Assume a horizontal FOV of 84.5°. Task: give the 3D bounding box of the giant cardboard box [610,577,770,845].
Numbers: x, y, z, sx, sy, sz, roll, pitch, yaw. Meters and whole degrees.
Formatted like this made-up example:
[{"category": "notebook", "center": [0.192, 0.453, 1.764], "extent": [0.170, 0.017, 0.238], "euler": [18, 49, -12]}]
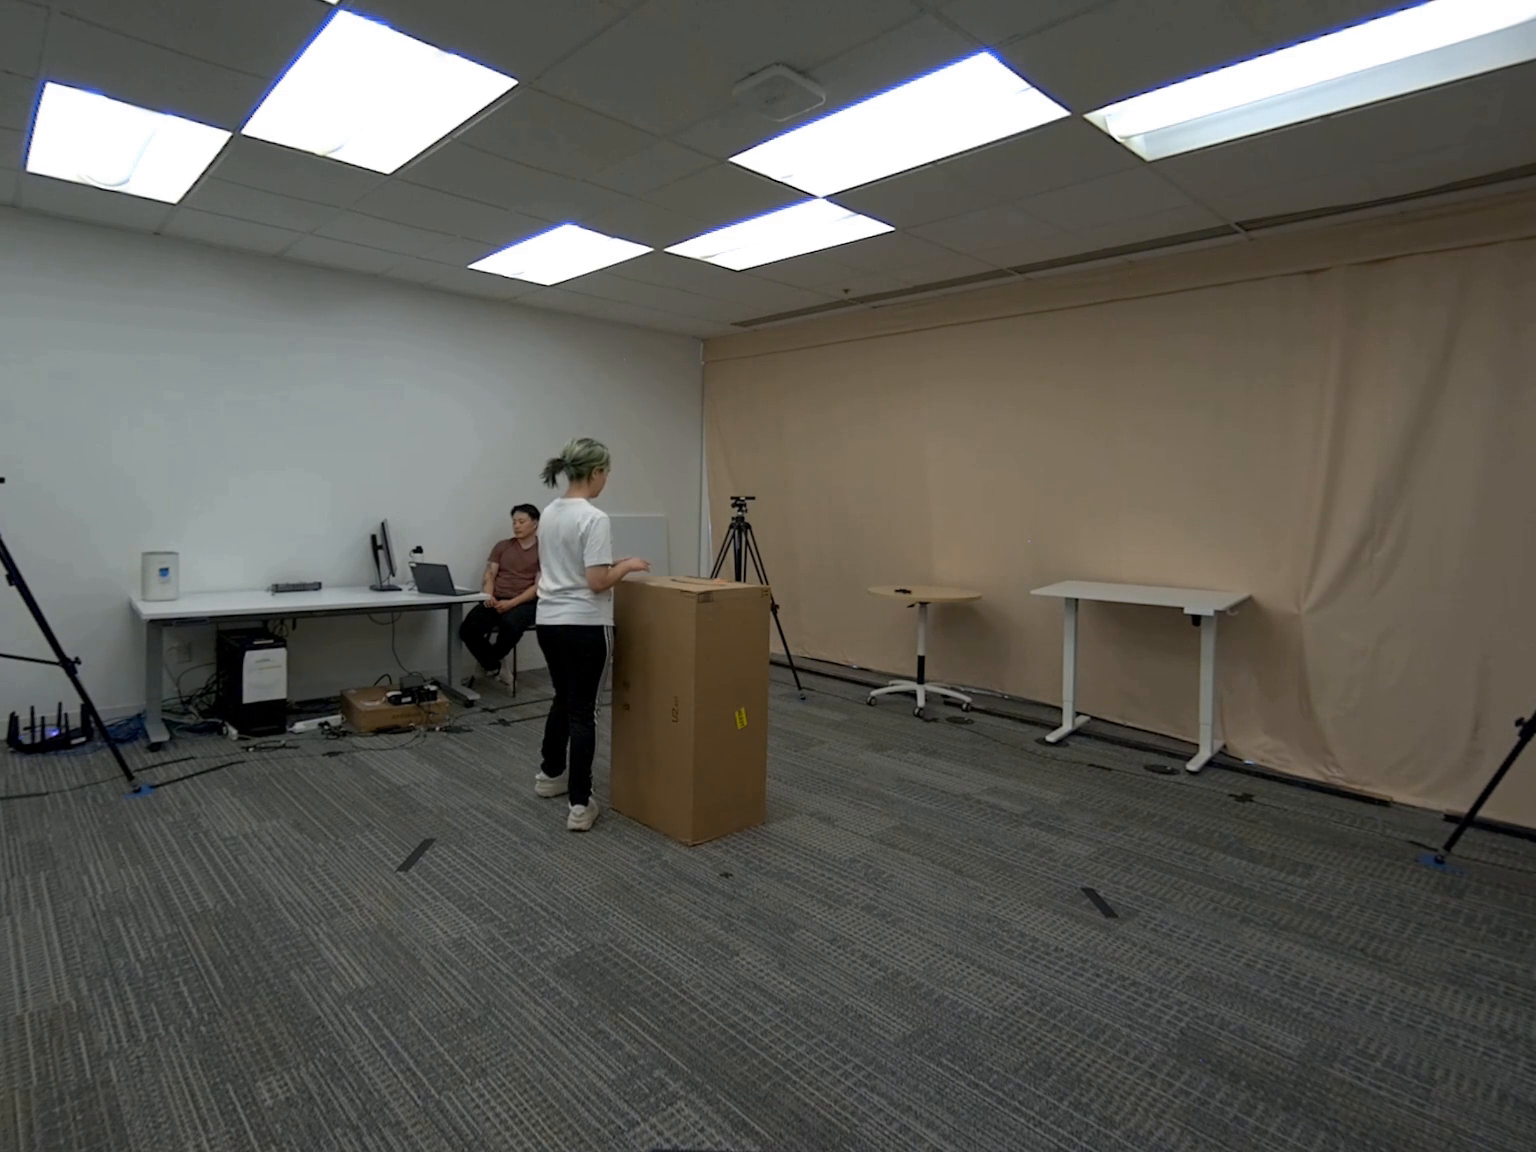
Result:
[{"category": "giant cardboard box", "center": [-0.350, 0.543, 3.678], "extent": [0.436, 1.025, 0.599], "euler": [-2, 4, -45]}]
